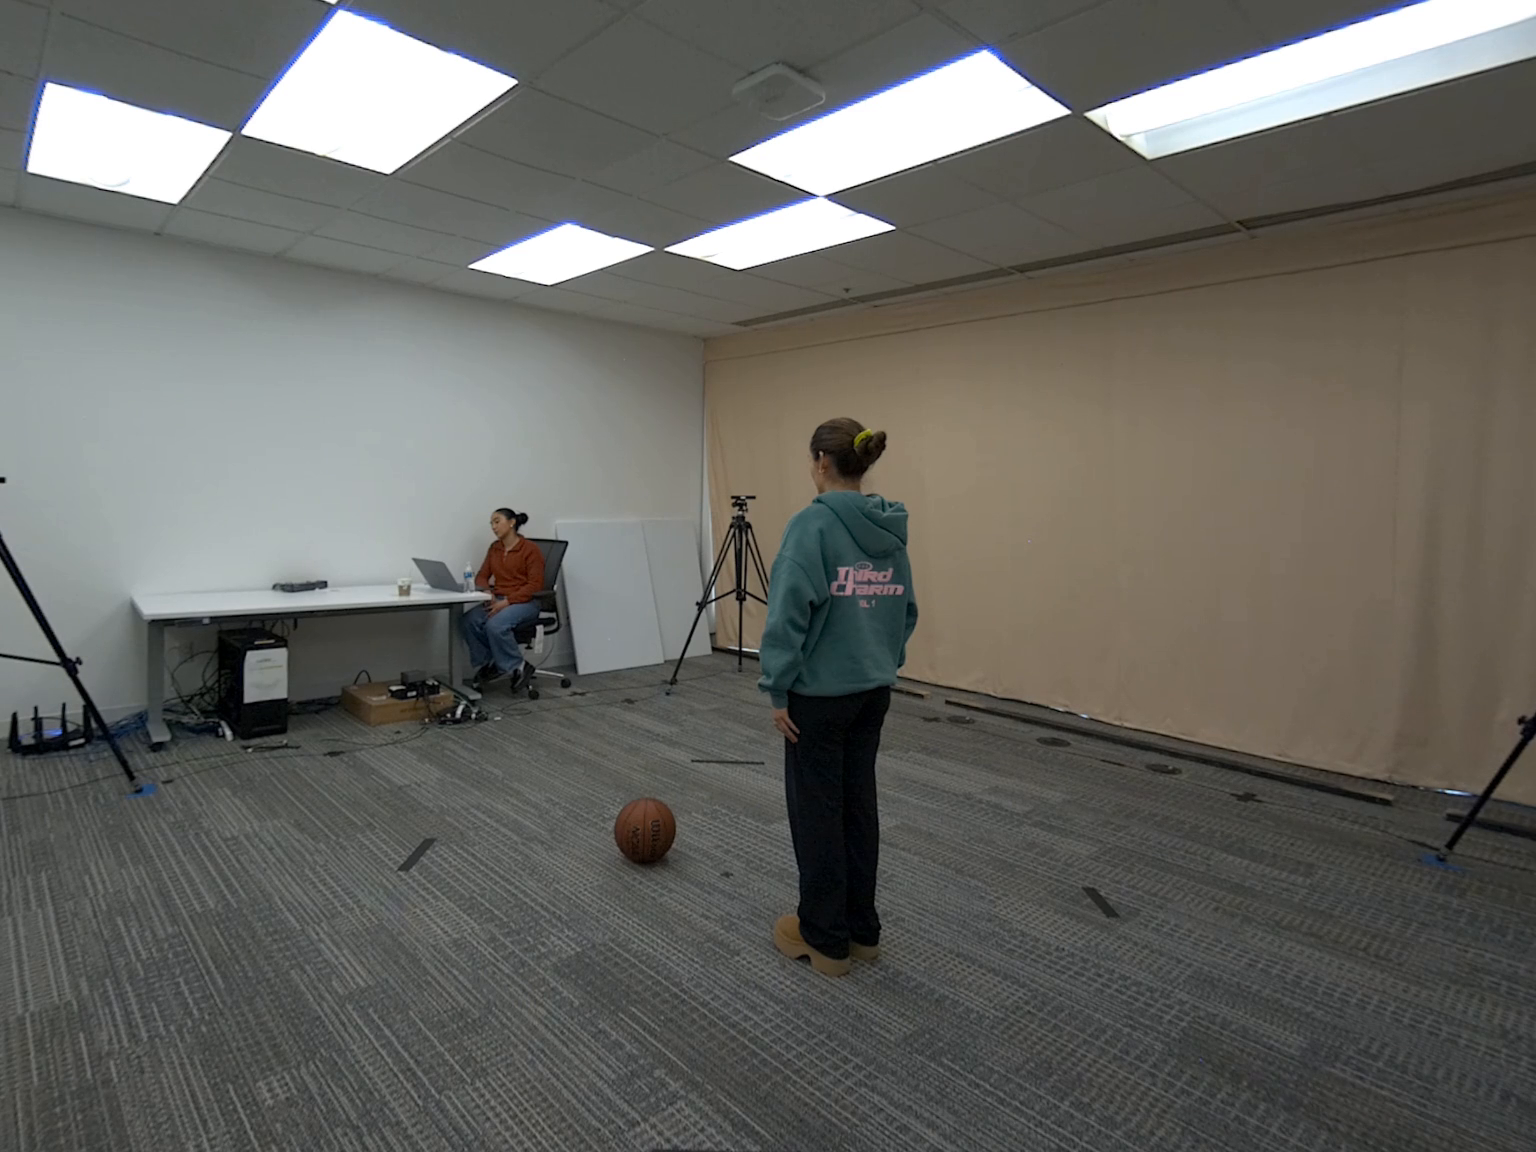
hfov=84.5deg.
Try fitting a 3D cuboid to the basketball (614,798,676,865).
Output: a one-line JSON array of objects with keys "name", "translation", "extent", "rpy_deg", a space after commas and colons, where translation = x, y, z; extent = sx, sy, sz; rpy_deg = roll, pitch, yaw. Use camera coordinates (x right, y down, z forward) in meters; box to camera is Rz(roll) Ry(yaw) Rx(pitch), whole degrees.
[{"name": "basketball", "translation": [-0.477, 0.966, 3.211], "extent": [0.236, 0.235, 0.237], "rpy_deg": [1, 4, -1]}]
